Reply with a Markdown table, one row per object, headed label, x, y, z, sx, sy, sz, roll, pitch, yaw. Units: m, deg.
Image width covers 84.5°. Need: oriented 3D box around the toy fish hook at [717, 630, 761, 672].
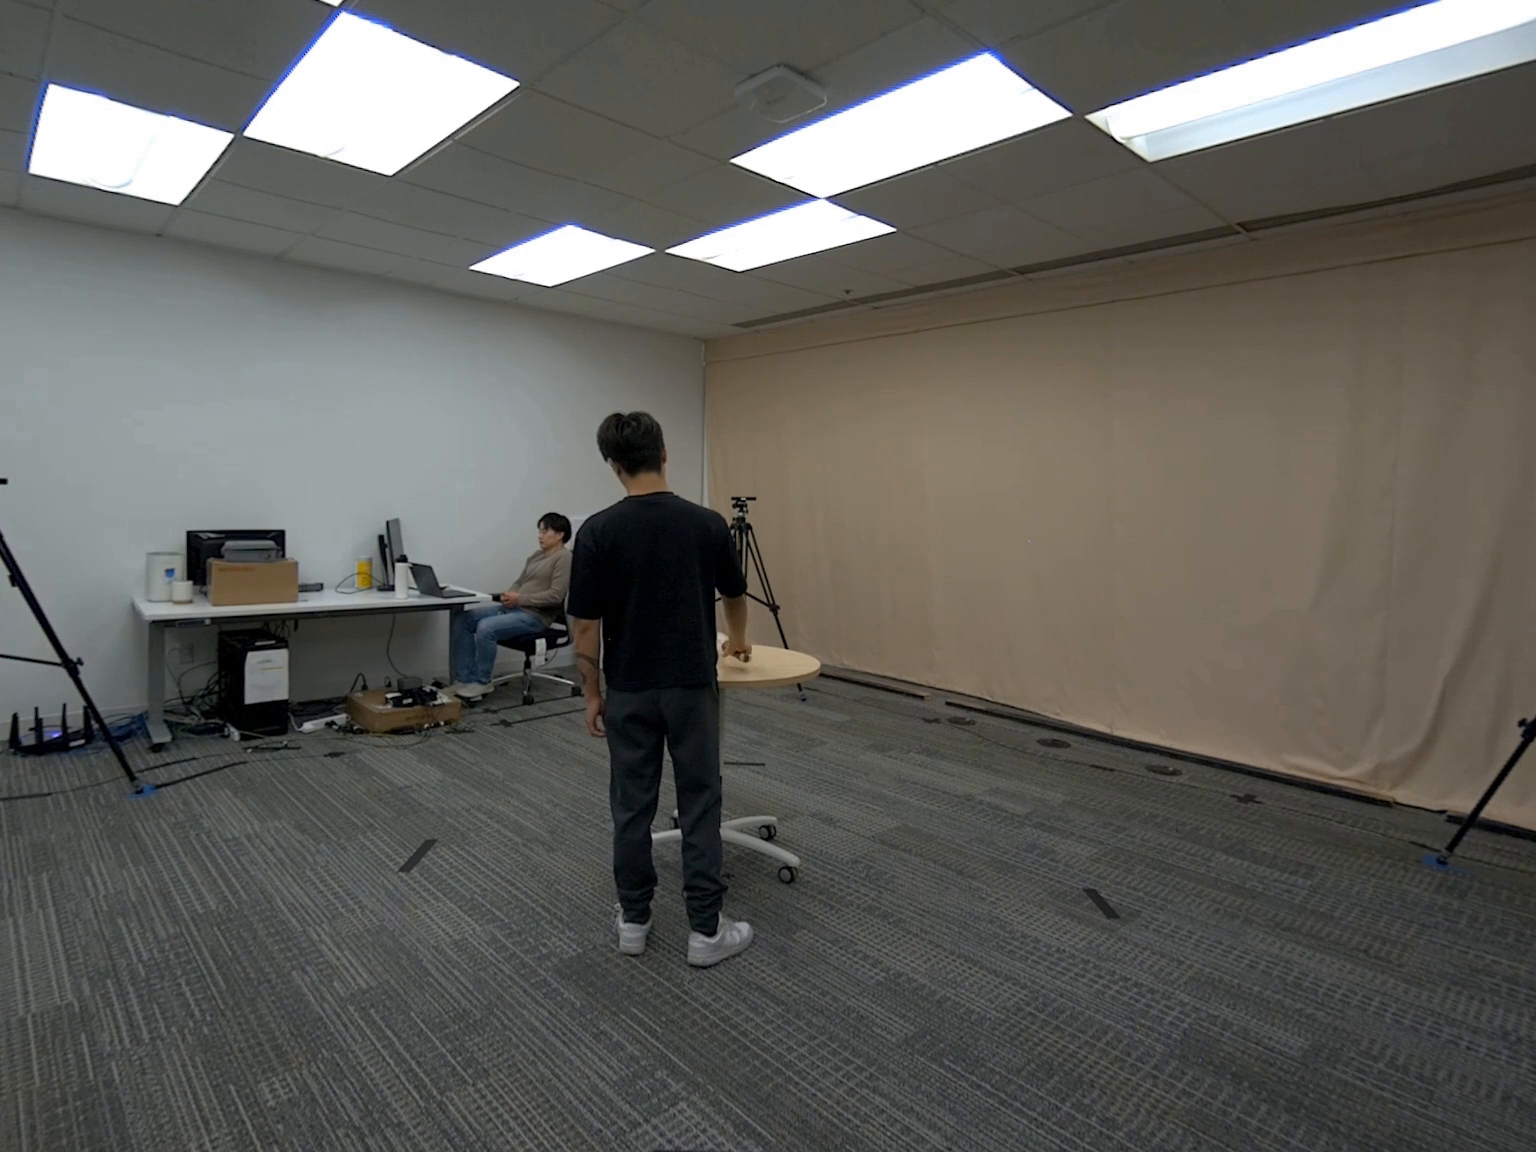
| label | x | y | z | sx | sy | sz | roll | pitch | yaw |
| --- | --- | --- | --- | --- | --- | --- | --- | --- | --- |
| toy fish hook | -0.224 | 0.266 | 3.120 | 0.221 | 0.048 | 0.516 | -1 | 7 | -20 |
